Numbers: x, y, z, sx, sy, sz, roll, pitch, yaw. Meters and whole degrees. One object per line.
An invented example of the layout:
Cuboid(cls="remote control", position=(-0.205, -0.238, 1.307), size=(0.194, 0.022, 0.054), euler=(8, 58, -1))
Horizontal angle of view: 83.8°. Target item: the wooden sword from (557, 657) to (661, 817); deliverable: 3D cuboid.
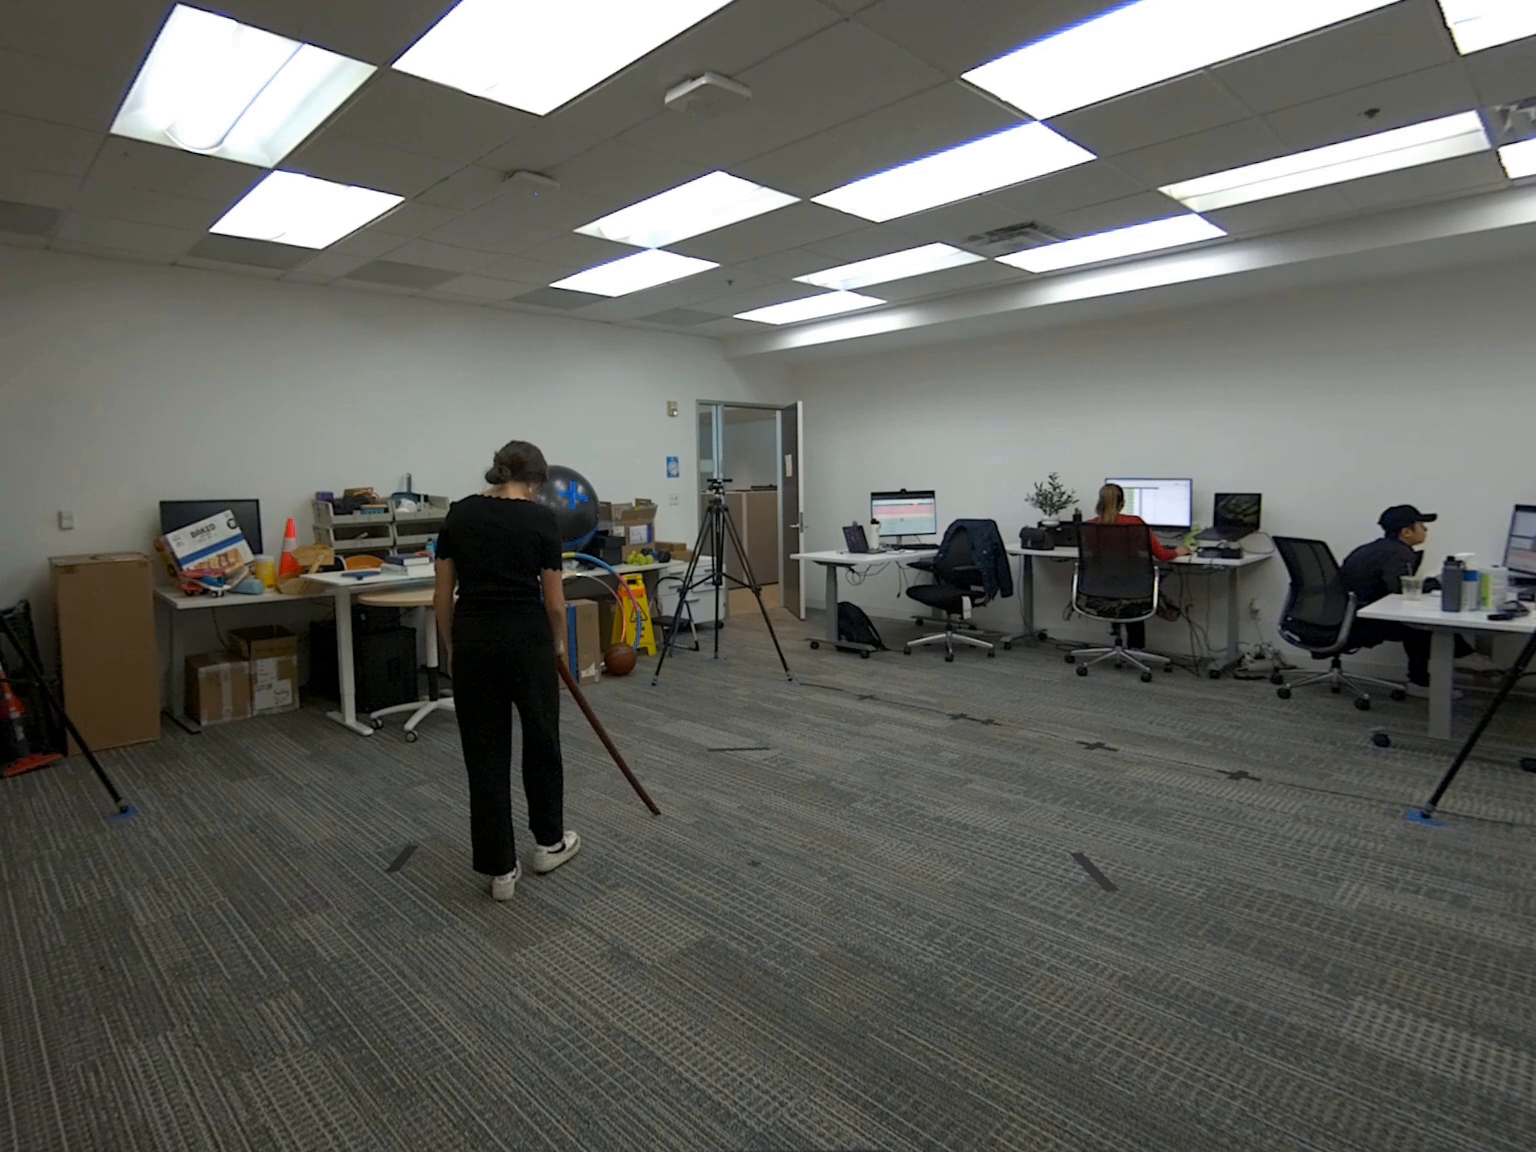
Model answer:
Cuboid(cls="wooden sword", position=(-0.661, 0.609, 3.385), size=(0.051, 0.995, 0.025), euler=(-39, 28, -25))
